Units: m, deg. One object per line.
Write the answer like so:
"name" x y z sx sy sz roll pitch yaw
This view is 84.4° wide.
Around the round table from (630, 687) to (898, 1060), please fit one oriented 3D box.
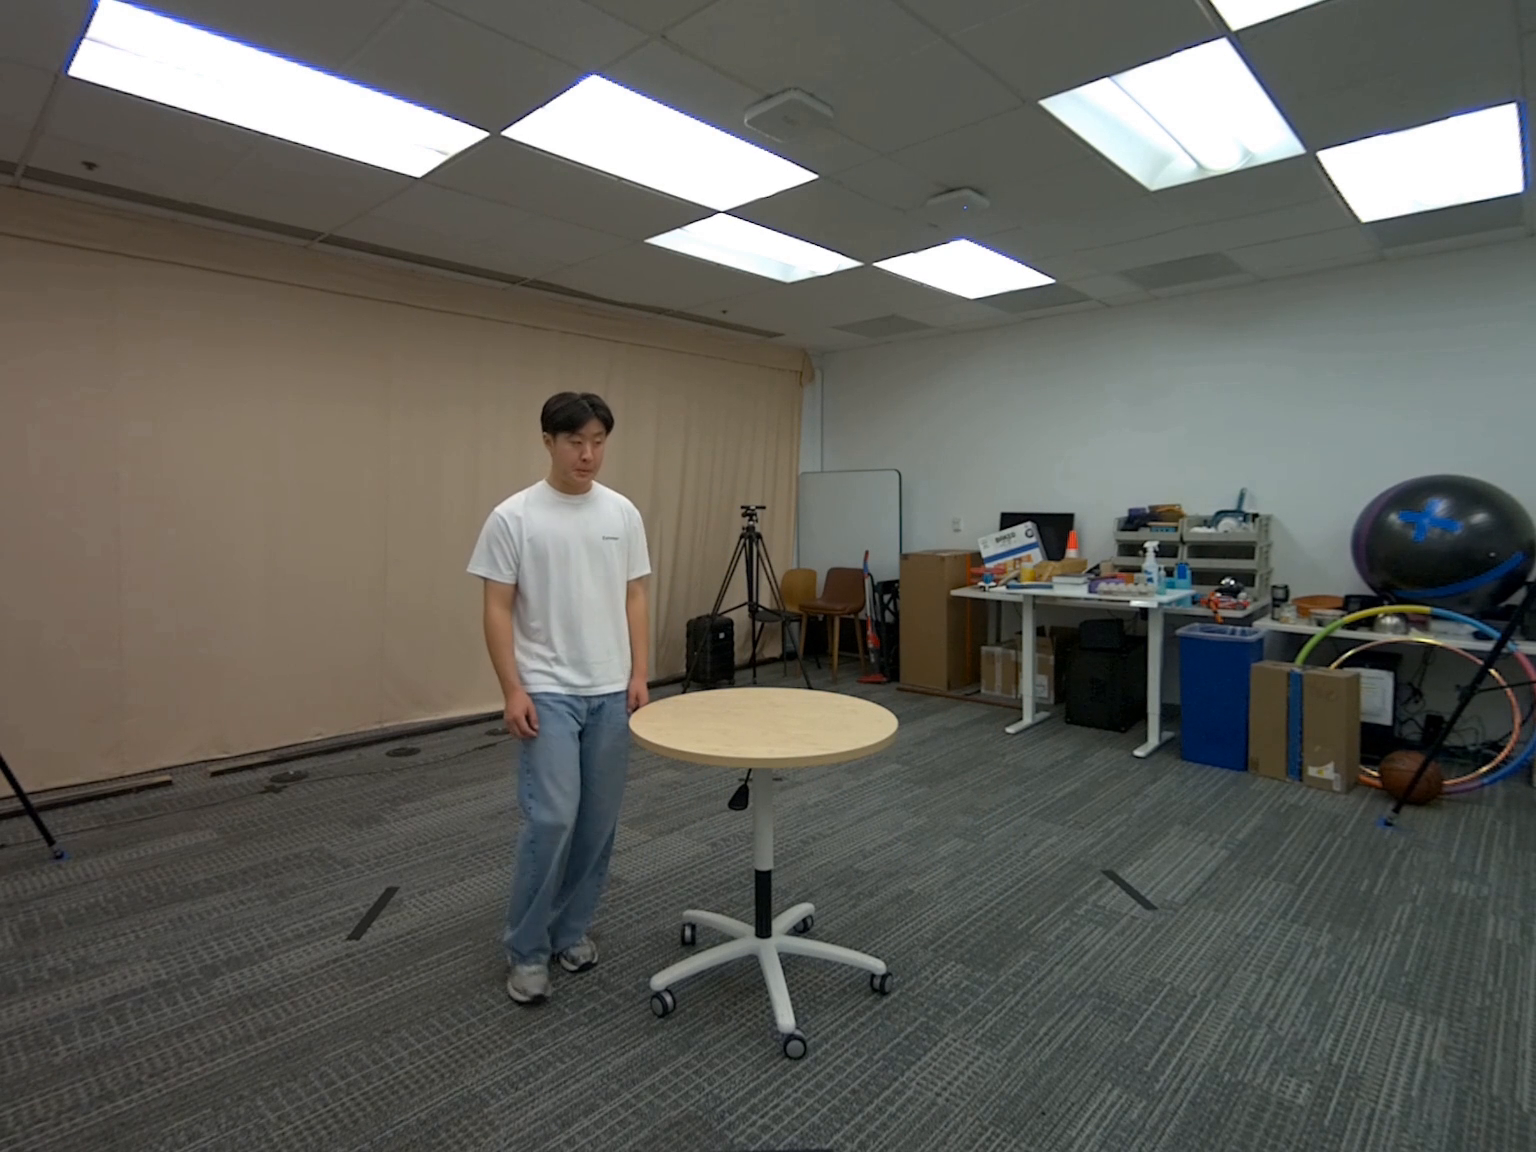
"round table" -0.018 0.800 2.433 0.784 0.784 0.788 0 4 -2
